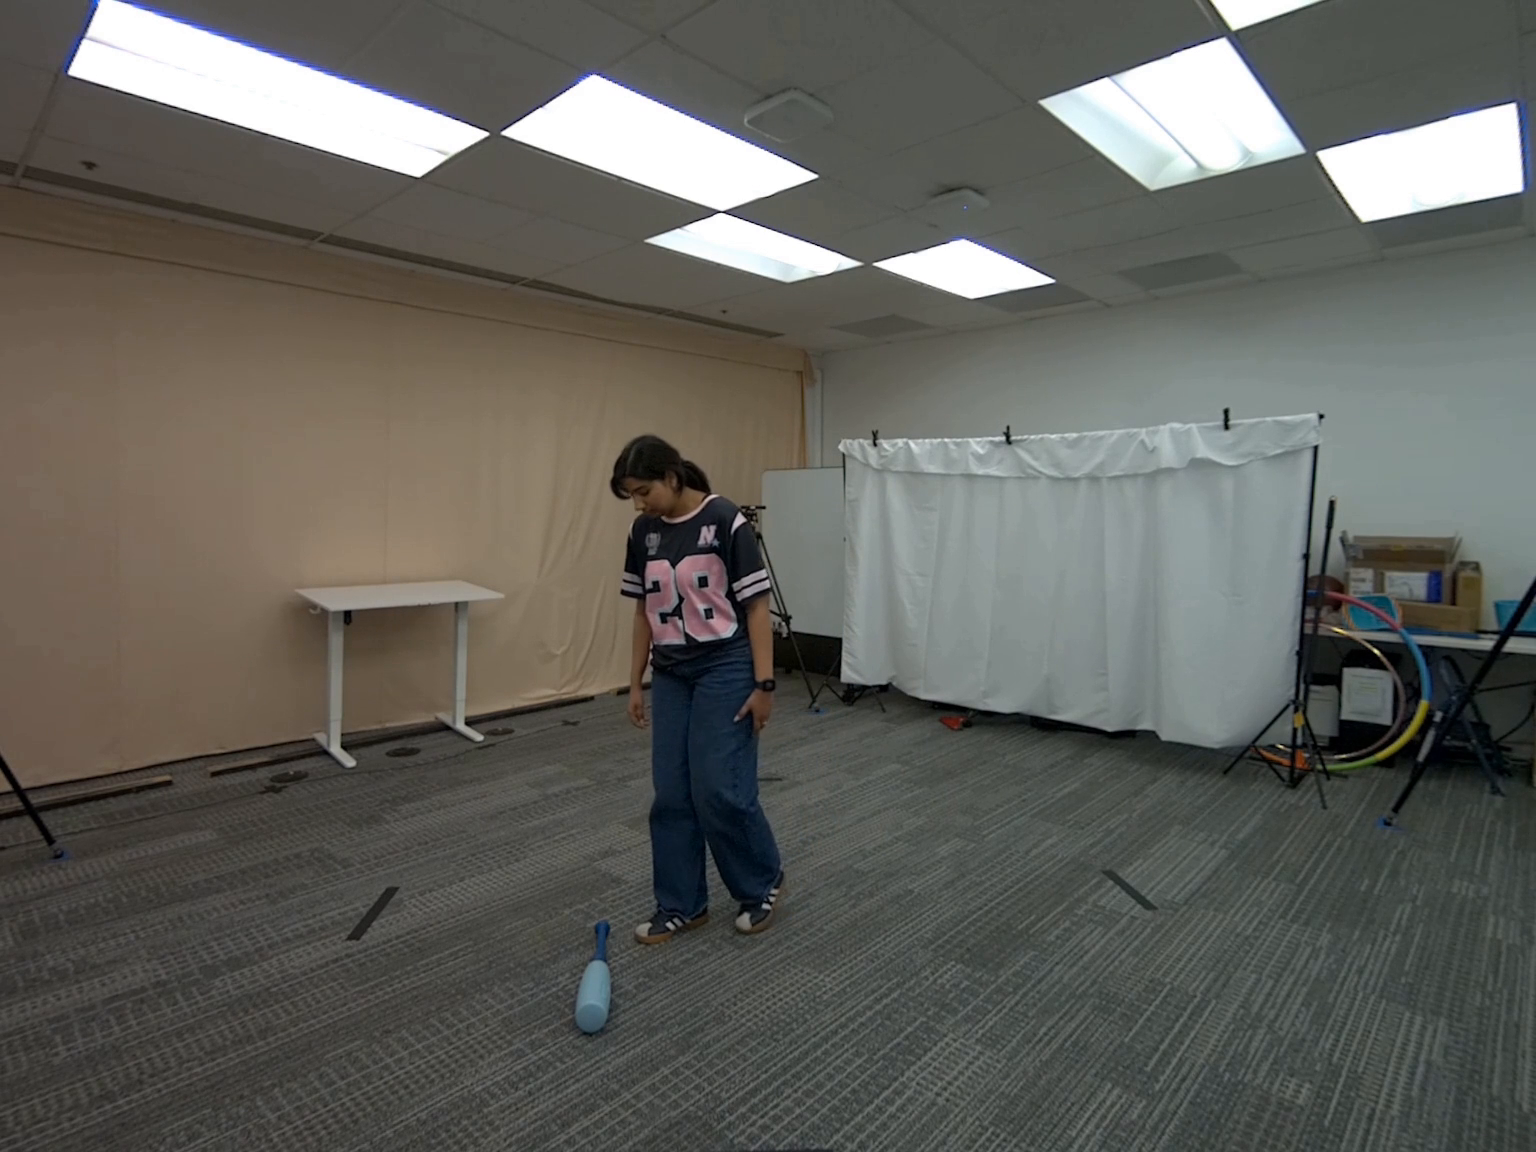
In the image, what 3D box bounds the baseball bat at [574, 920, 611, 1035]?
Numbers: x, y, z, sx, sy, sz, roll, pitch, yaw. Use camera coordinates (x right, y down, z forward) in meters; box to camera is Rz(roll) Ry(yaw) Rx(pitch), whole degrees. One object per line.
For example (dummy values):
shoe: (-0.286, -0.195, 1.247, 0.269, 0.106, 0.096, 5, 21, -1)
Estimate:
baseball bat: (-0.501, 1.157, 2.466, 0.088, 0.089, 0.547, 0, 1, -8)
